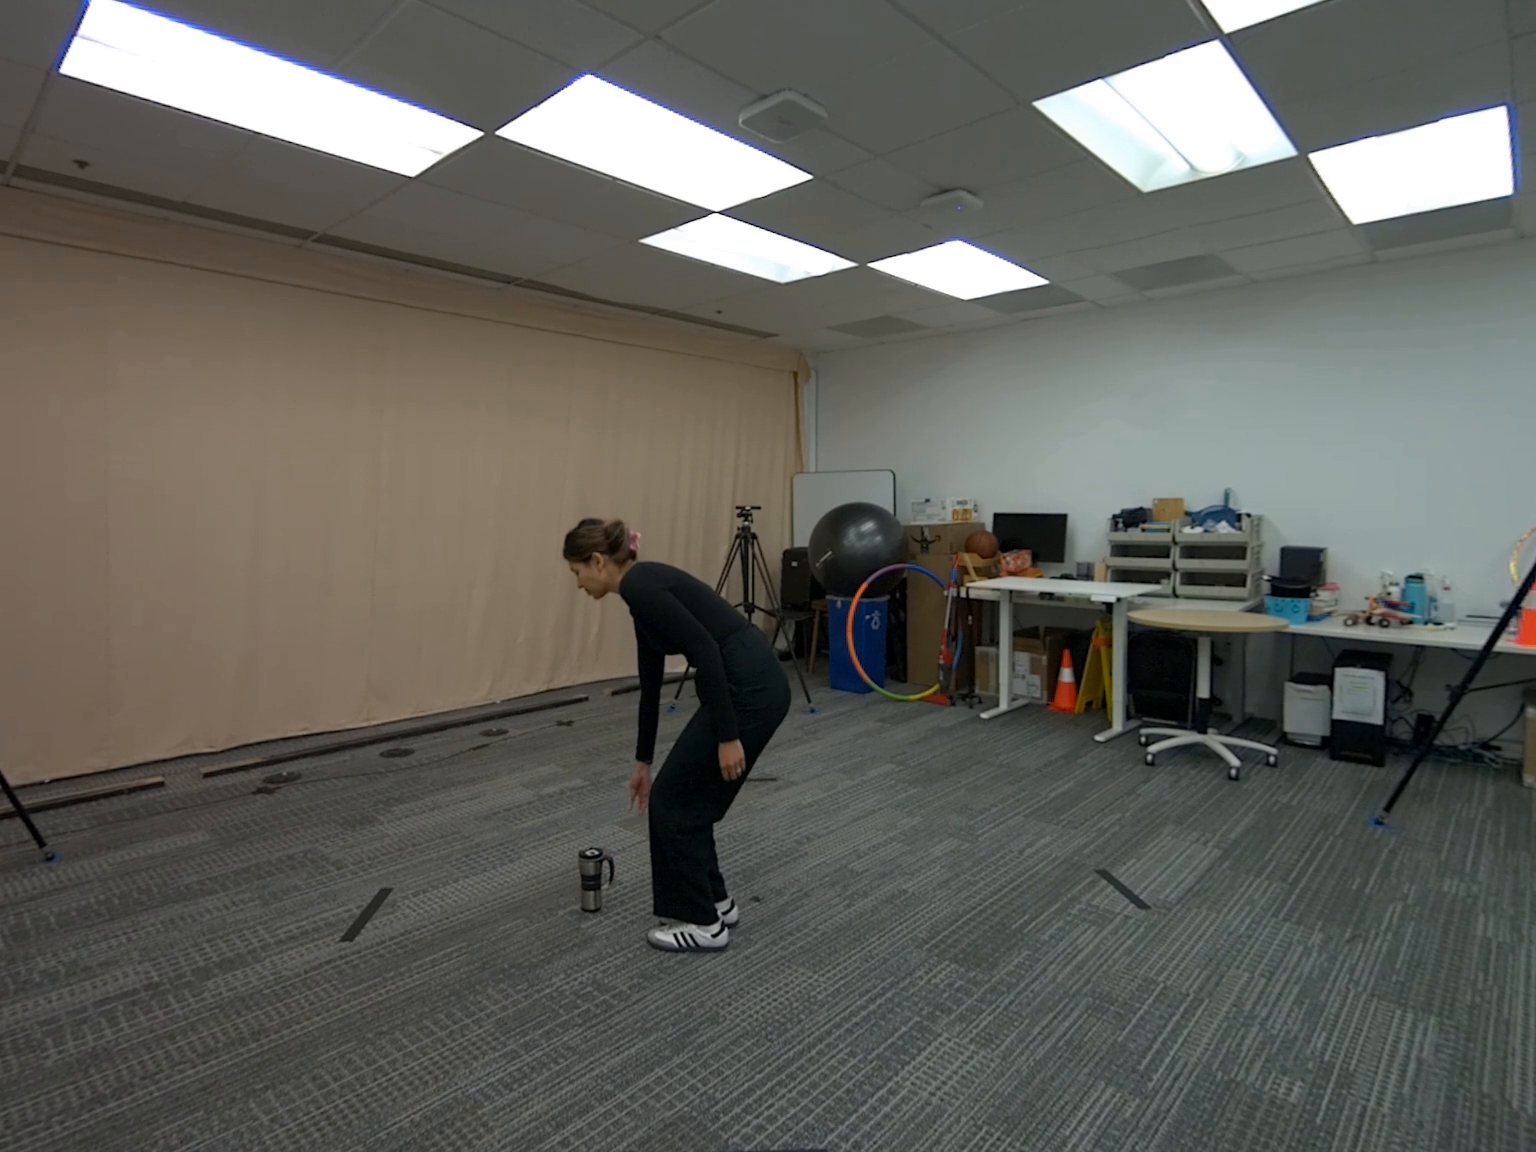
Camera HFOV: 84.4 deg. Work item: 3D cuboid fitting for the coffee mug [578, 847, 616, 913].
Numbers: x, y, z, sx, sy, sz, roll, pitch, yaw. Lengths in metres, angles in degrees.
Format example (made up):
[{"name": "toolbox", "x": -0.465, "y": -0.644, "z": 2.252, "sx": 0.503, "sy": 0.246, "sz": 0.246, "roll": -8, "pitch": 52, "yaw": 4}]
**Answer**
[{"name": "coffee mug", "x": -0.598, "y": 1.062, "z": 2.903, "sx": 0.126, "sy": 0.203, "sz": 0.085, "roll": -3, "pitch": -4, "yaw": 41}]
